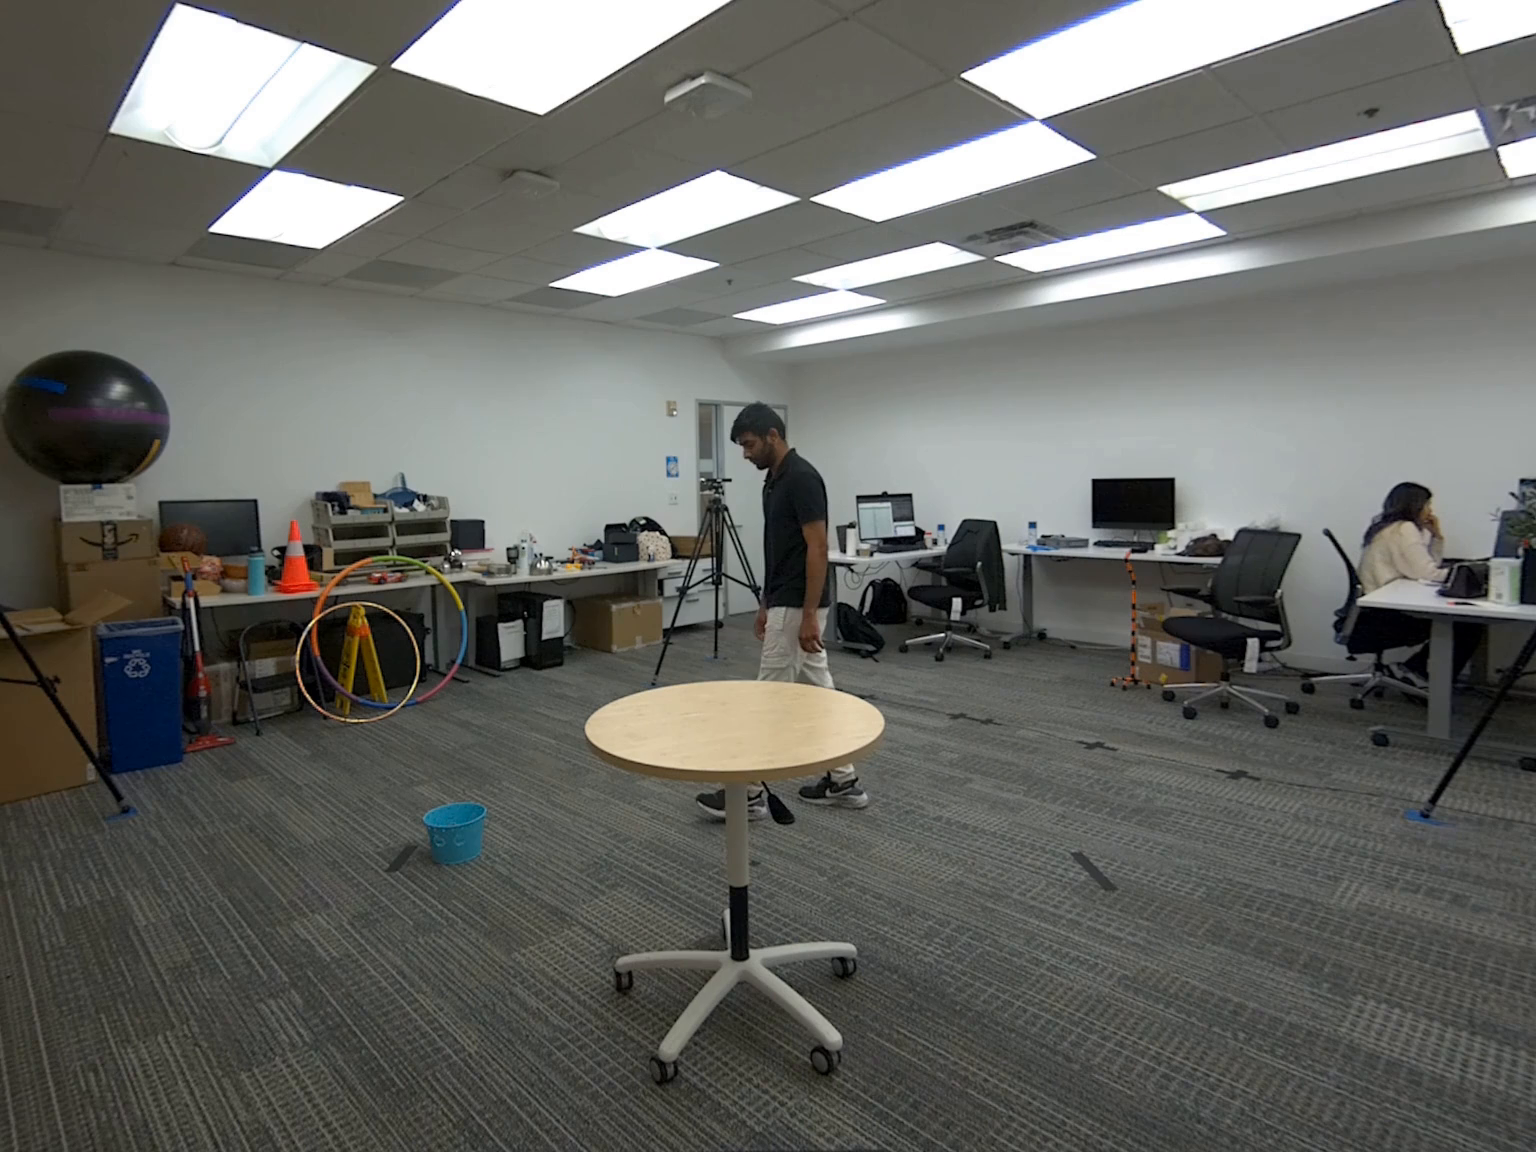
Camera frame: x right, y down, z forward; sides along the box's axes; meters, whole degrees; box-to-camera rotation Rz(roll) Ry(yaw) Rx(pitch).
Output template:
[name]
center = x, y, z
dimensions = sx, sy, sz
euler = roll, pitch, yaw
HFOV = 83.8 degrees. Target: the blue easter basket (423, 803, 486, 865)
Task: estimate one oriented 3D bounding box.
[blue easter basket]
center = -1.174, 0.974, 3.240
dimensions = 0.243, 0.155, 0.245
euler = -1, 6, -2
